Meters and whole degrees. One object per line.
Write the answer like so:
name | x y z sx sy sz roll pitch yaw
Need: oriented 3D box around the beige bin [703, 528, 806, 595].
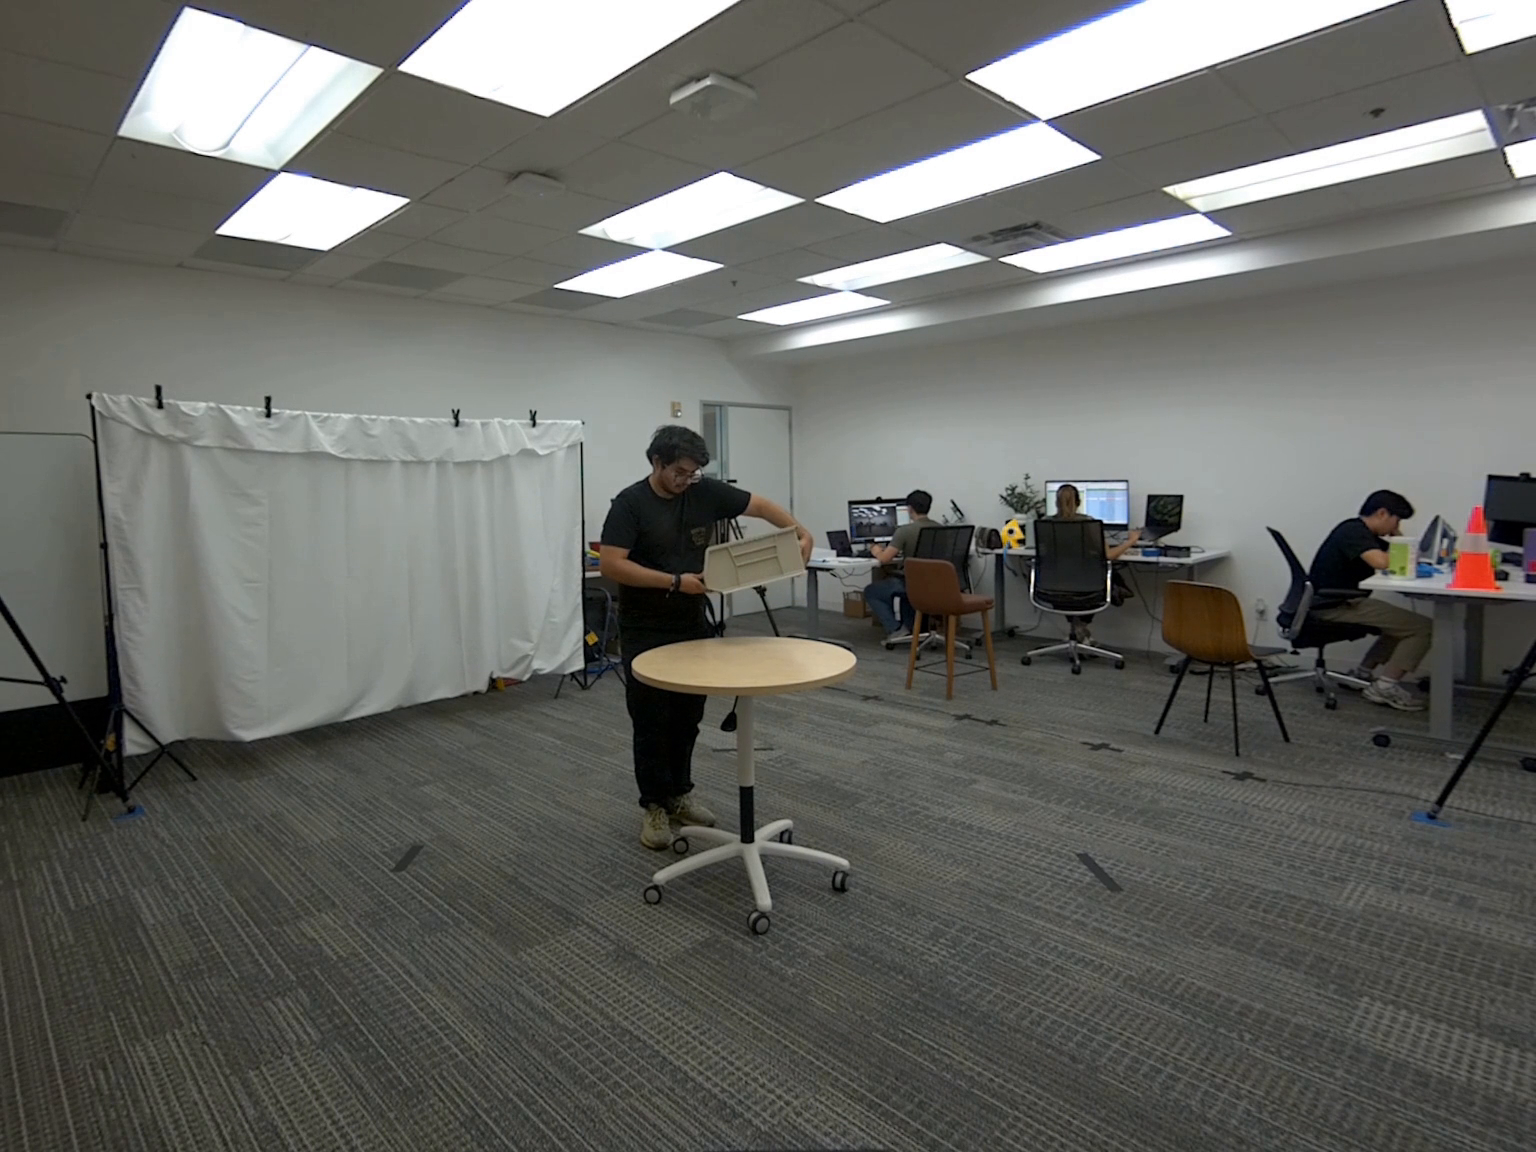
beige bin | -0.075 -0.042 3.303 0.376 0.189 0.423 -14 0 -6
